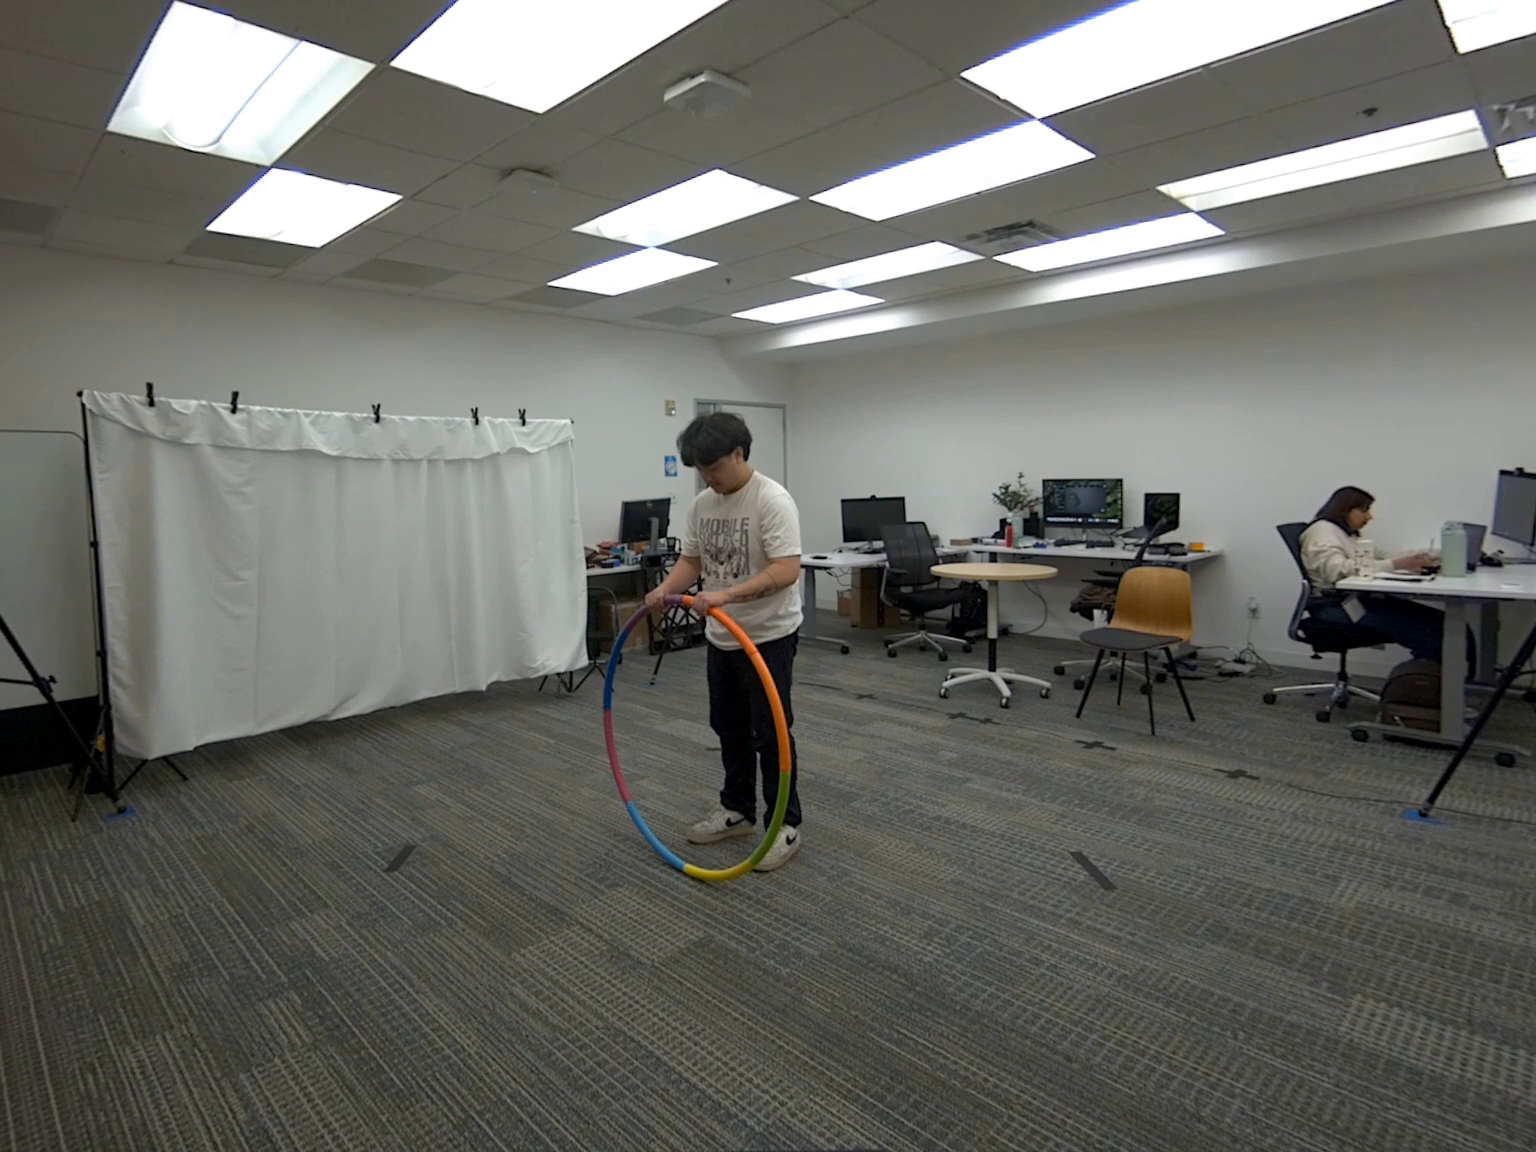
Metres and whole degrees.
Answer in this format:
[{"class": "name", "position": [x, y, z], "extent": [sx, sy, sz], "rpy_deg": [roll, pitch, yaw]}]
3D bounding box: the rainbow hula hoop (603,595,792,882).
[{"class": "rainbow hula hoop", "position": [-0.285, 0.563, 3.001], "extent": [0.050, 0.982, 1.016], "rpy_deg": [-3, 5, -44]}]
